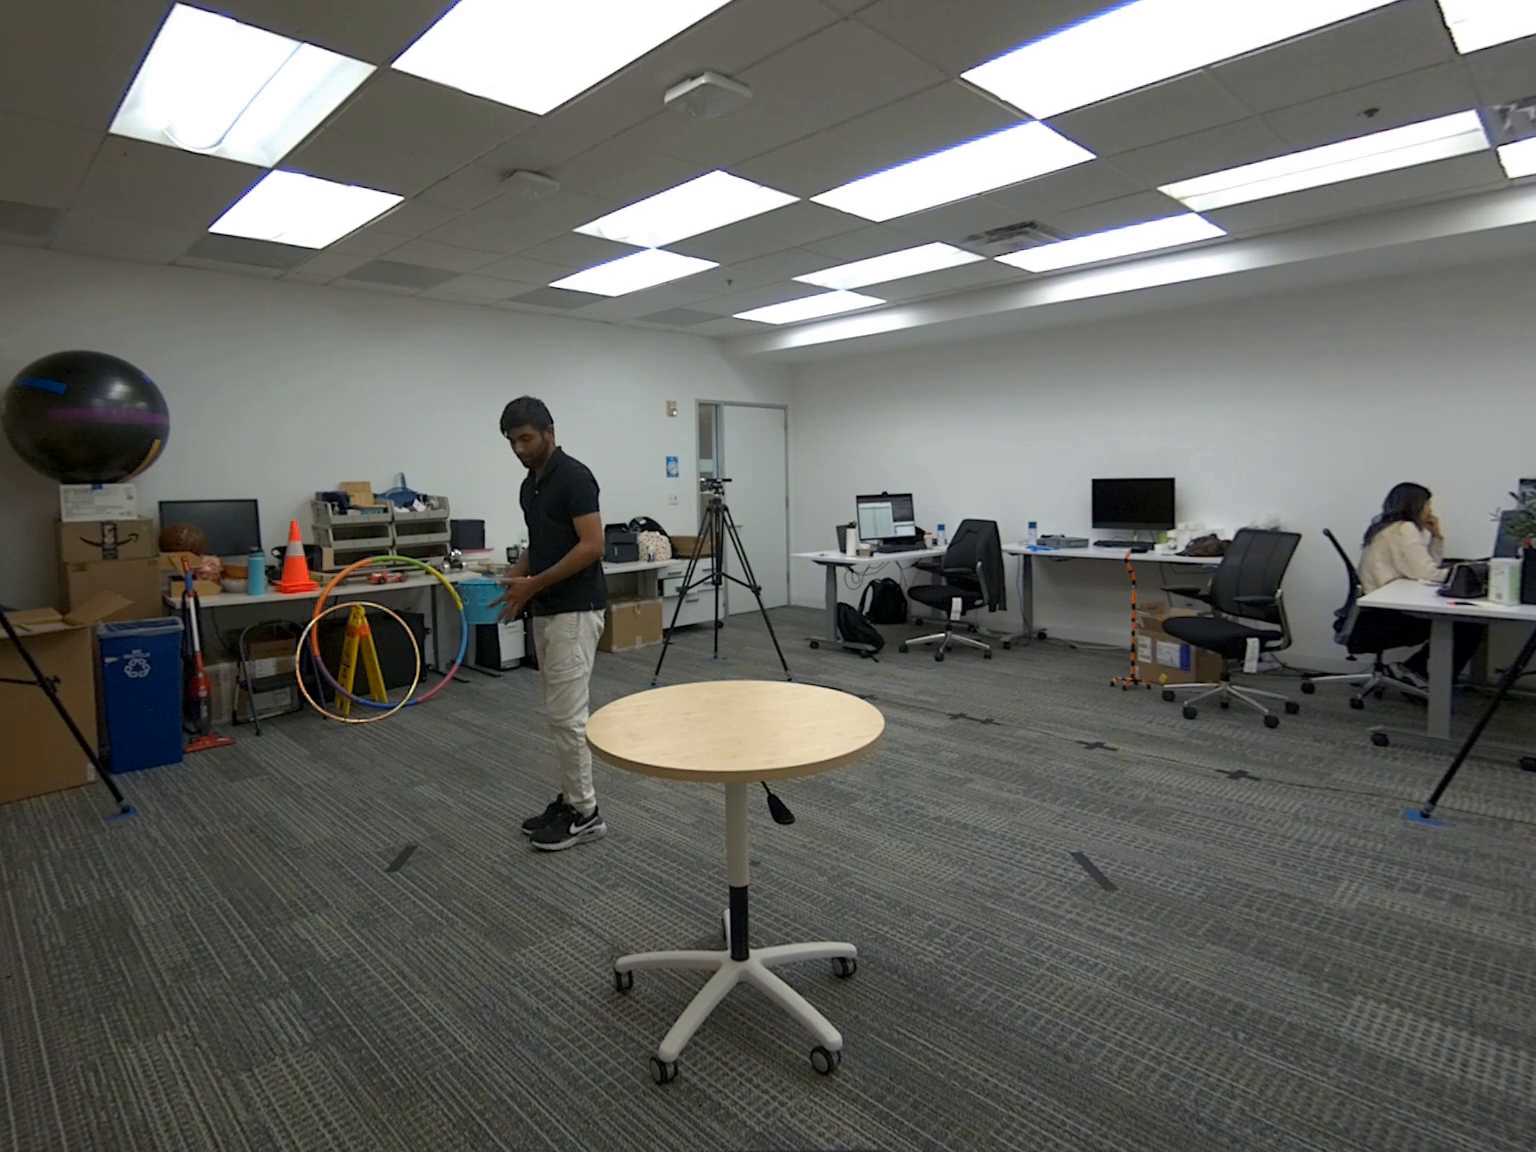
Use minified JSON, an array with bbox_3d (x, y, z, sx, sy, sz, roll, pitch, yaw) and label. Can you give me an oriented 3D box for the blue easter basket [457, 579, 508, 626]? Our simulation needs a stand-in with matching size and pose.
[{"bbox_3d":[-1.056,0.092,3.251,0.243,0.156,0.244,-1,3,-2],"label":"blue easter basket"}]
